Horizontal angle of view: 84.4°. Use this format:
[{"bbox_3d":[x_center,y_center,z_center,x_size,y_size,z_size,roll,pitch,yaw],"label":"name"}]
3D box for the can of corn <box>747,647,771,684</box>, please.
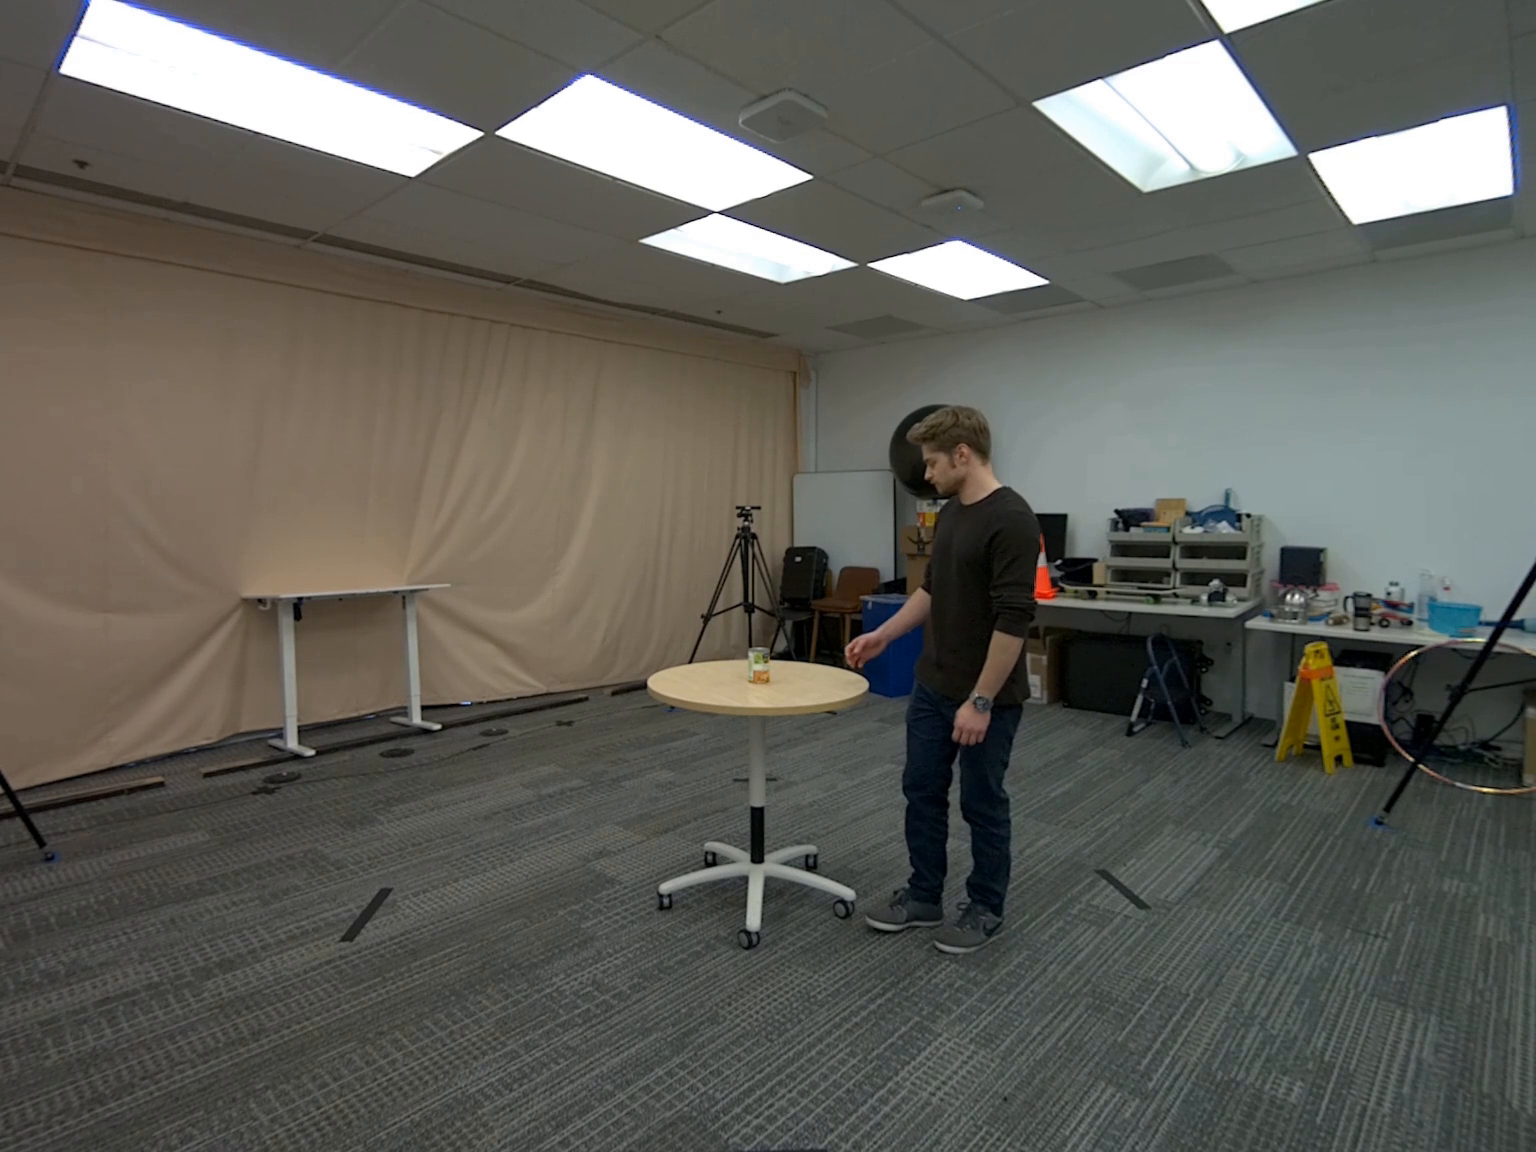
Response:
[{"bbox_3d":[-0.027,0.309,2.908,0.074,0.111,0.074,0,3,-2],"label":"can of corn"}]
